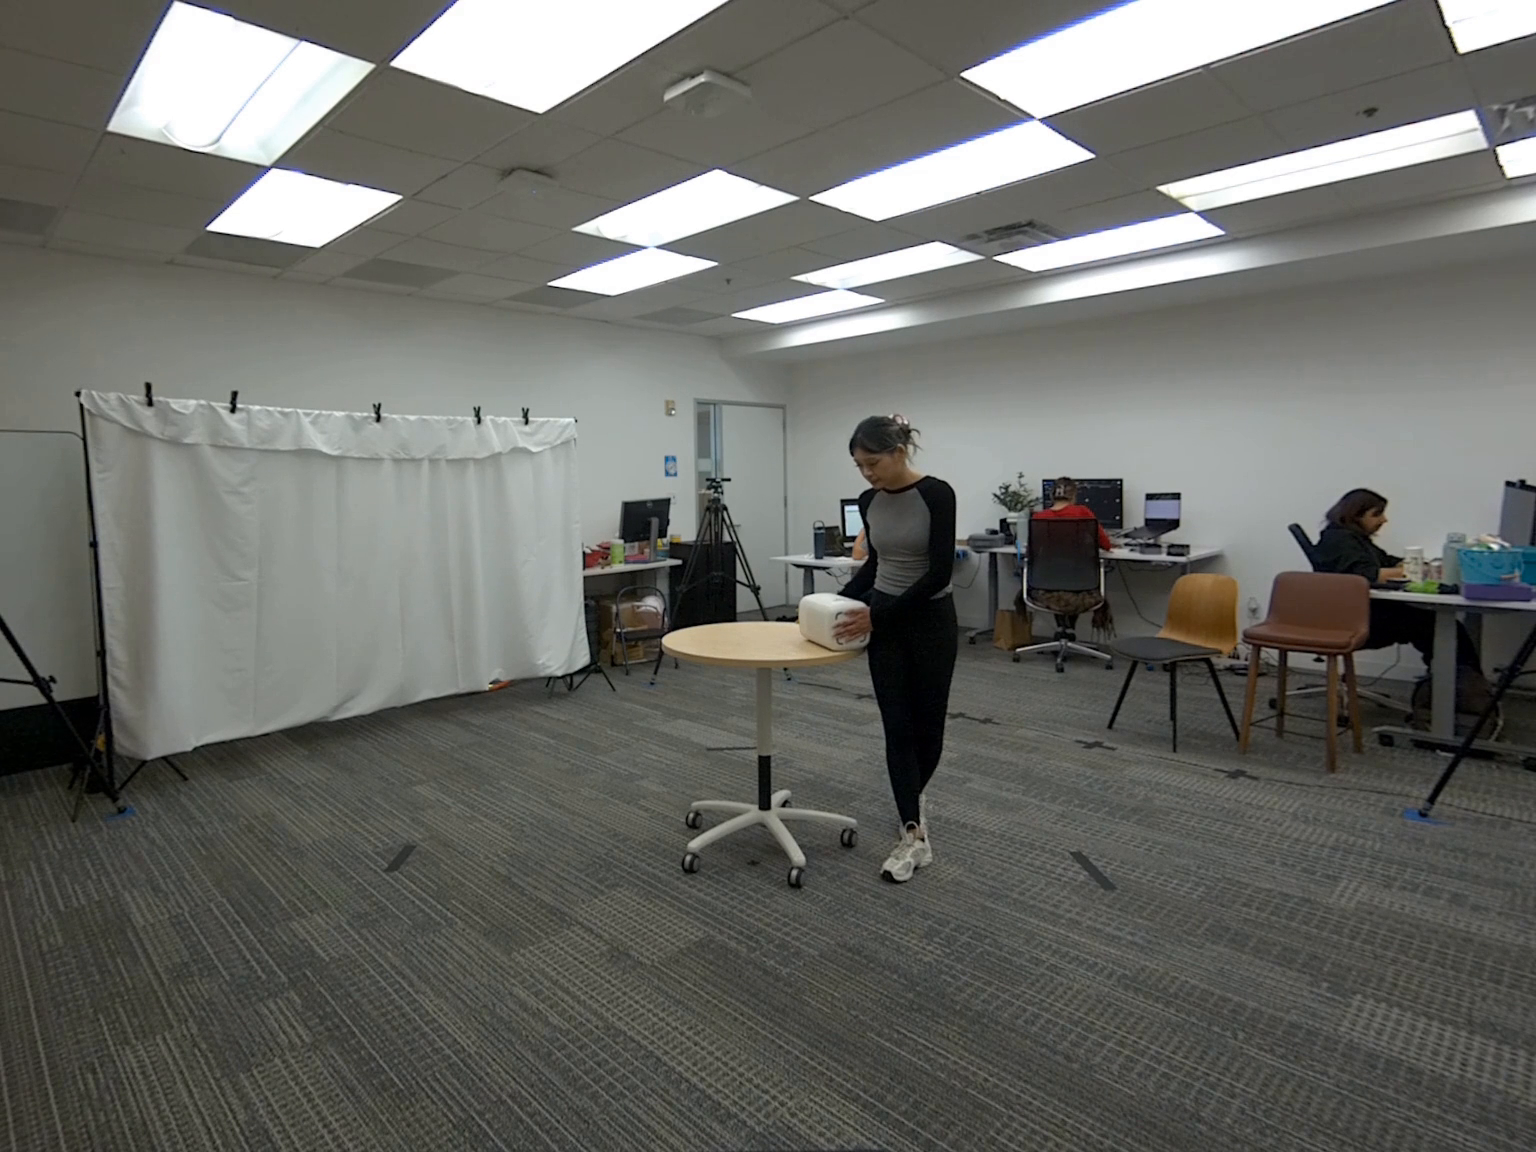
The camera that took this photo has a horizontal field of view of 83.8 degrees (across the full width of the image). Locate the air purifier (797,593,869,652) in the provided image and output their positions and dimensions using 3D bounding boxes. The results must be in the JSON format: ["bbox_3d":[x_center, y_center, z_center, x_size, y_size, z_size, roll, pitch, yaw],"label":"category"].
[{"bbox_3d":[0.245,0.163,3.075,0.168,0.171,0.271,-3,6,-20],"label":"air purifier"}]
